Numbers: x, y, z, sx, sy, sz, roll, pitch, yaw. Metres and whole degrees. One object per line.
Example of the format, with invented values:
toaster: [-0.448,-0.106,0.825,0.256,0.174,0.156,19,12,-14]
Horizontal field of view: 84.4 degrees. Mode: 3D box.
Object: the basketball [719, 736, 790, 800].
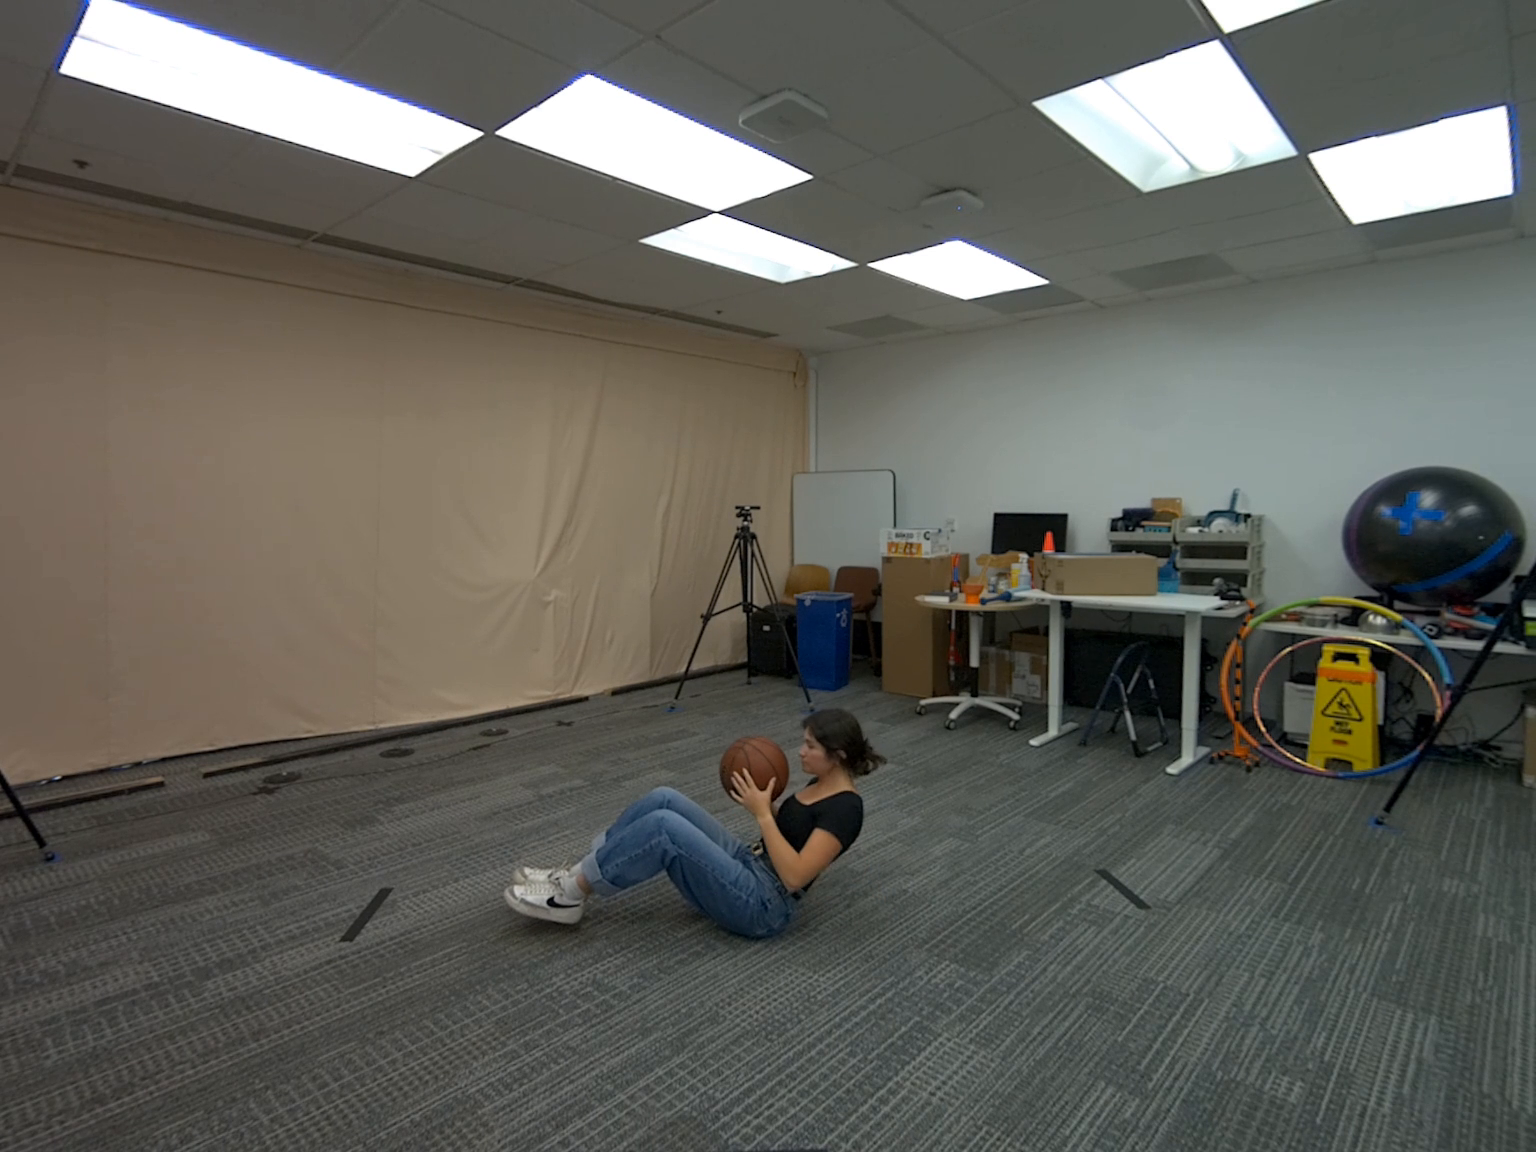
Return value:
basketball: [-0.041,0.677,2.893,0.236,0.235,0.237,0,4,-2]
